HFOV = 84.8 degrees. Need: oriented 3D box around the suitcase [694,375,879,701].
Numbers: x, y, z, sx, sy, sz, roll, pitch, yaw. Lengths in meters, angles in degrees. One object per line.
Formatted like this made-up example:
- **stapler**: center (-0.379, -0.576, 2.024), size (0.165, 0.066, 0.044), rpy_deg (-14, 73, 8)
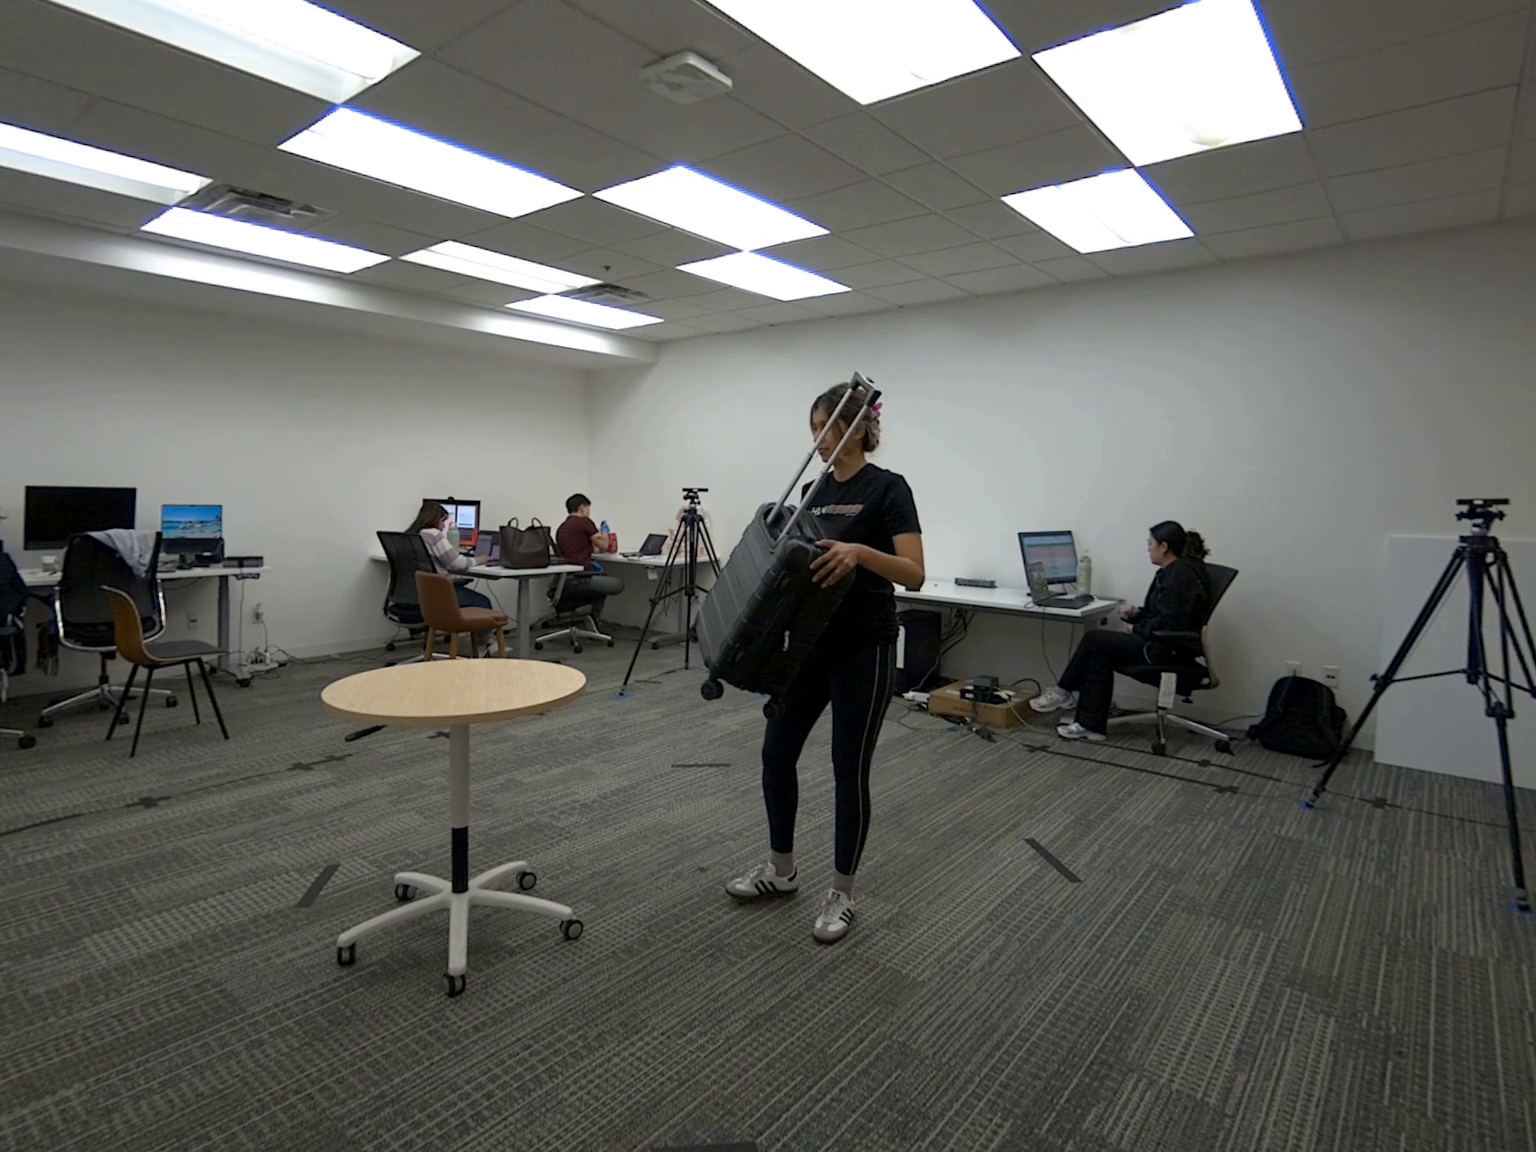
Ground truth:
- **suitcase**: center (0.106, -0.099, 2.465), size (0.250, 0.974, 0.396), rpy_deg (25, 20, -22)
